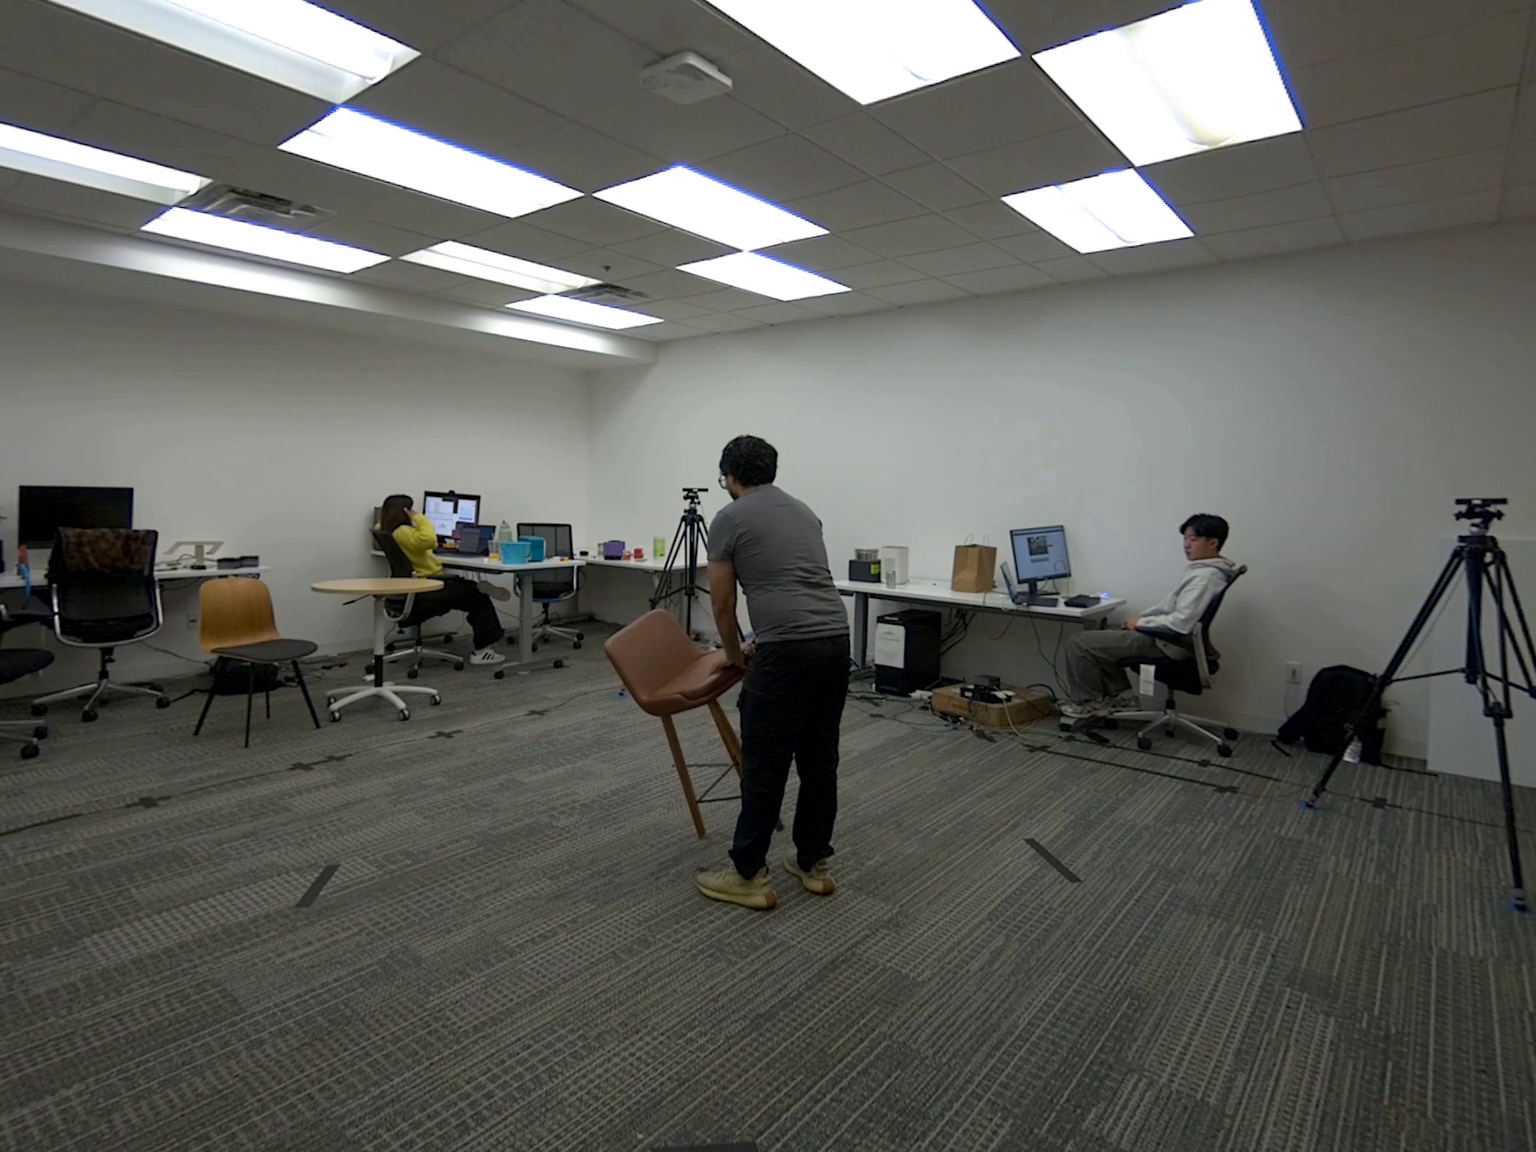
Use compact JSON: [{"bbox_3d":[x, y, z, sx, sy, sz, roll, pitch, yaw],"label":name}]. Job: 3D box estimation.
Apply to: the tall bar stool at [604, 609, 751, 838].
[{"bbox_3d":[-0.224,0.532,3.383,0.475,0.887,0.451,-25,4,39],"label":"tall bar stool"}]
